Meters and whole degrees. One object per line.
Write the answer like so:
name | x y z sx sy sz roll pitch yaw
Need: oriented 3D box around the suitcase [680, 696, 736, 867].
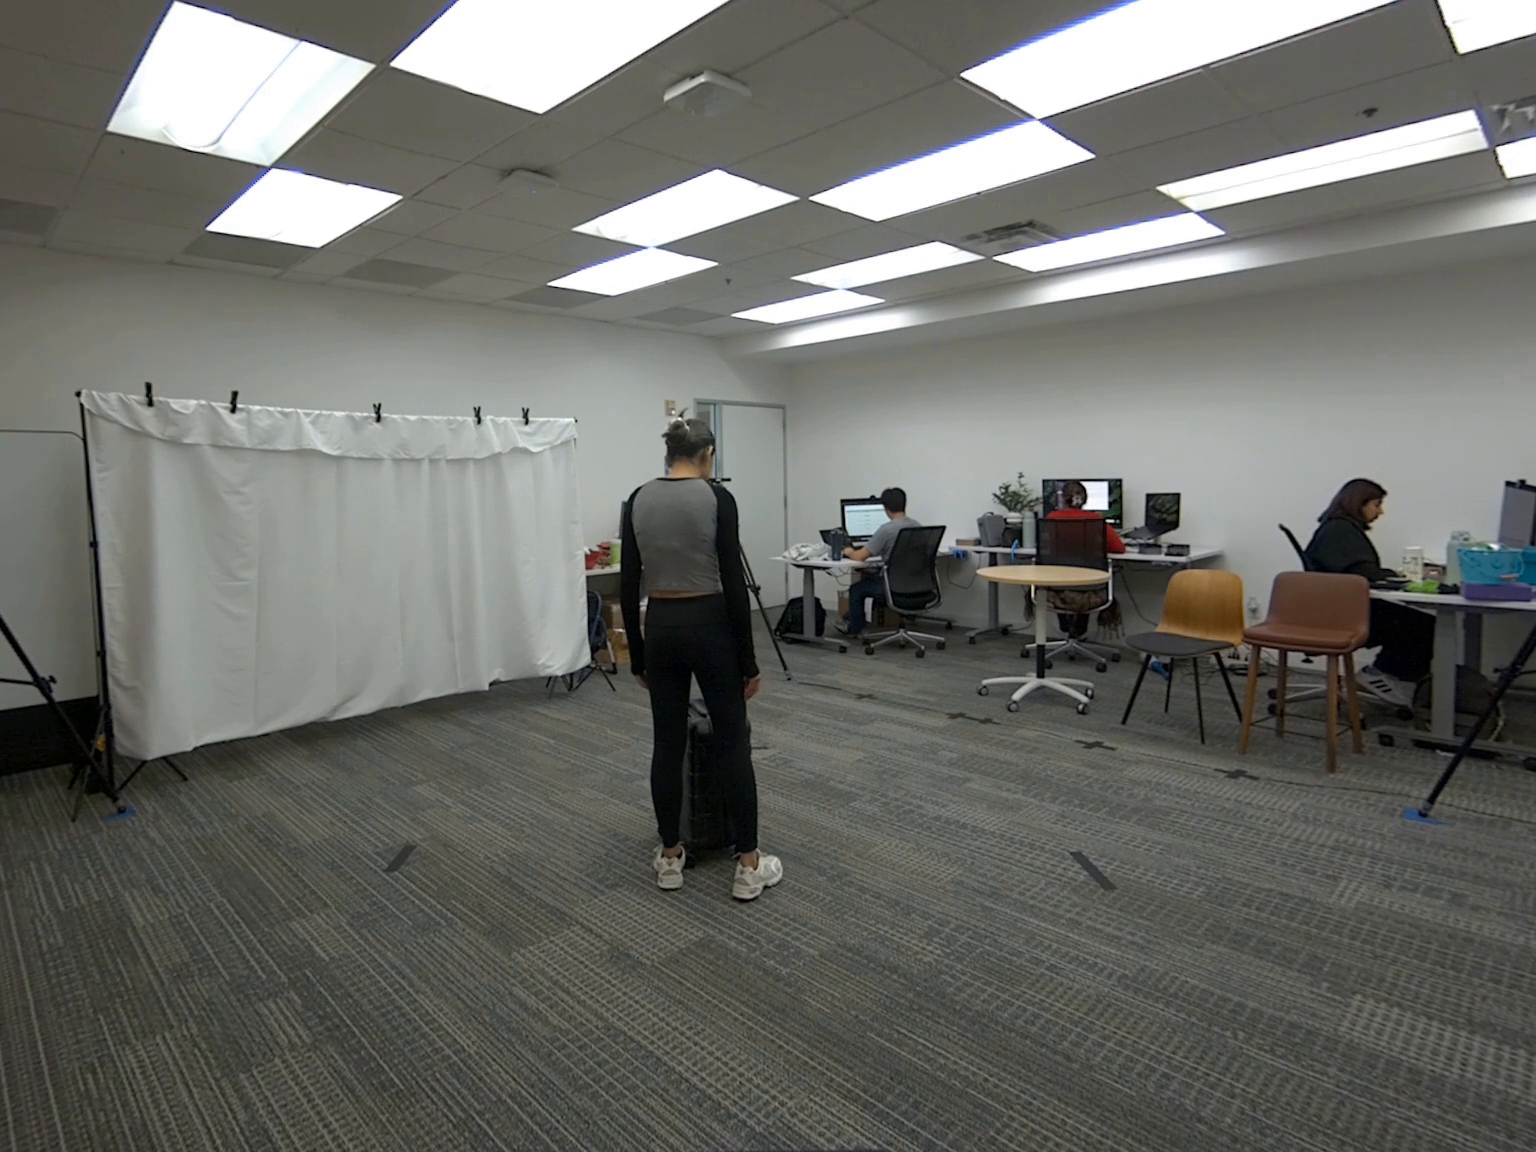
suitcase | -0.232 0.750 3.242 0.244 0.547 0.384 -2 4 -22
